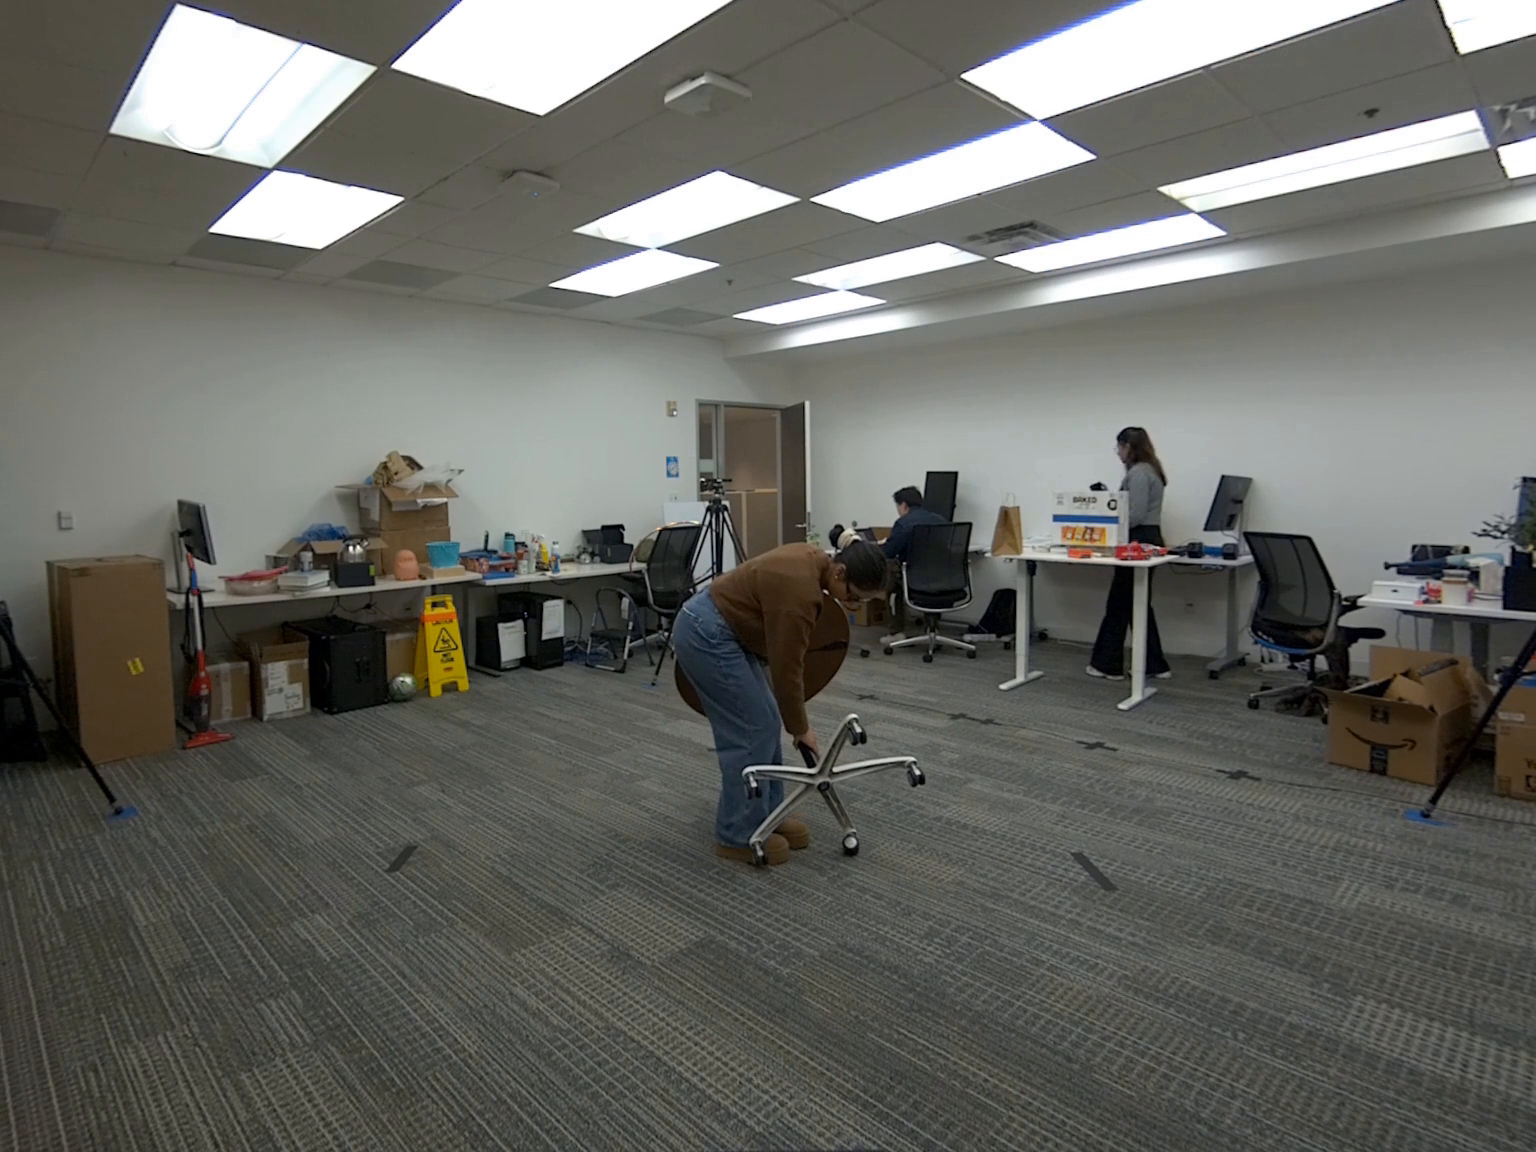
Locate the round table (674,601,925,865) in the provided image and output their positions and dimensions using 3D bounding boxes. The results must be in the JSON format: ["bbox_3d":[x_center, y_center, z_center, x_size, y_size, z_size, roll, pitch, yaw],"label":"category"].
[{"bbox_3d":[0.101,0.556,3.255,0.751,0.749,0.823,-3,35,-19],"label":"round table"}]
